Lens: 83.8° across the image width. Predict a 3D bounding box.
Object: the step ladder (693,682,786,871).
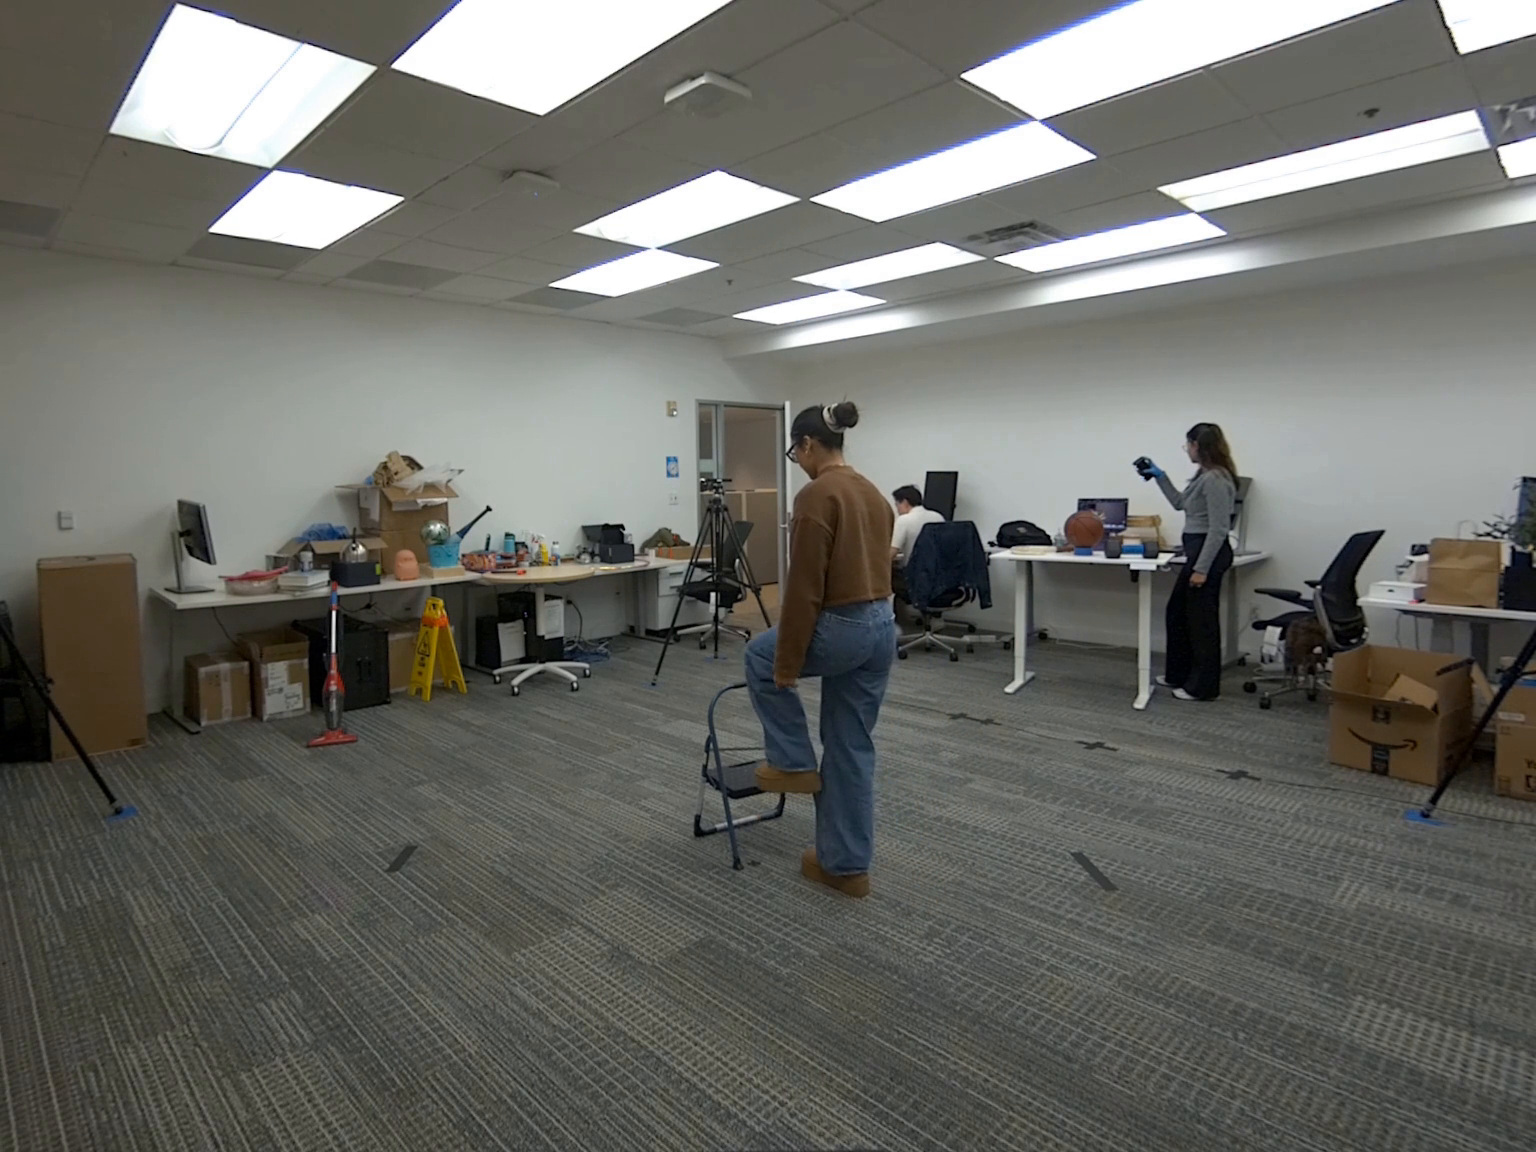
[{"bbox_3d":[-0.031,0.718,3.289,0.420,0.604,0.359,-4,5,-33],"label":"step ladder"}]
